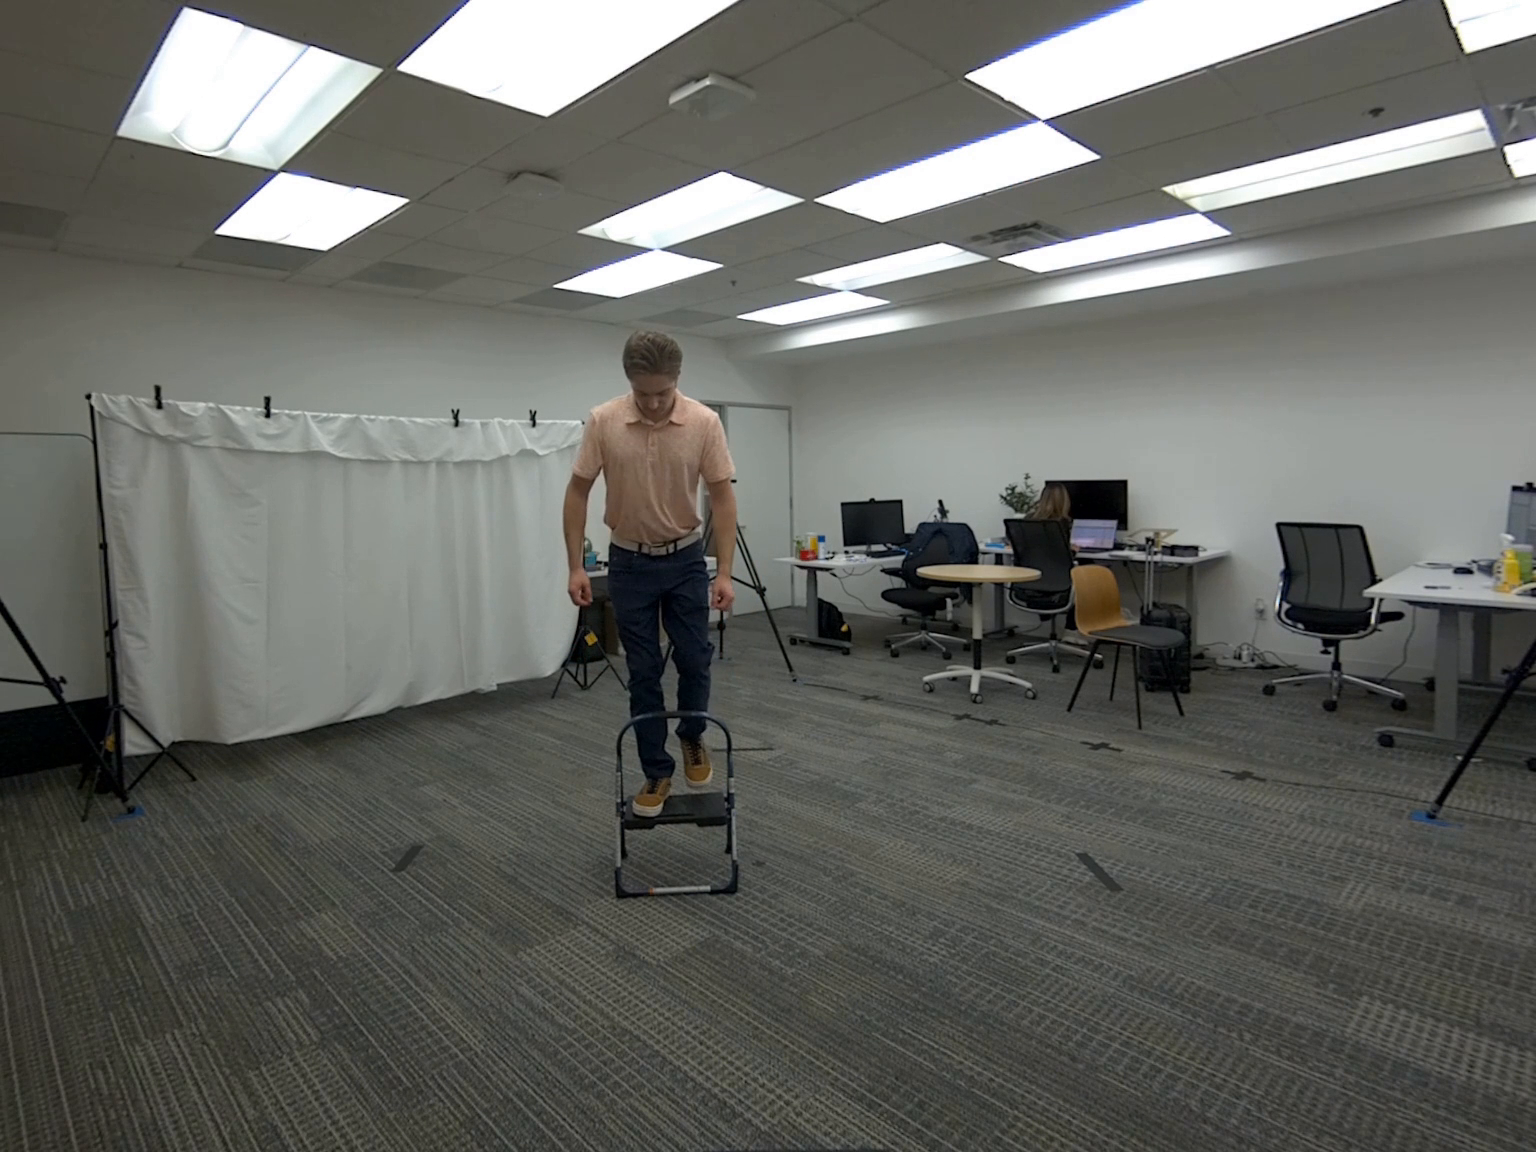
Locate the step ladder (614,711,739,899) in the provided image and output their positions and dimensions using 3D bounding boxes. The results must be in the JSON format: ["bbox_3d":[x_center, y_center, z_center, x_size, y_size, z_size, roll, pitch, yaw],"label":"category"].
[{"bbox_3d":[-0.328,0.763,3.027,0.429,0.604,0.352,-1,4,-5],"label":"step ladder"}]
